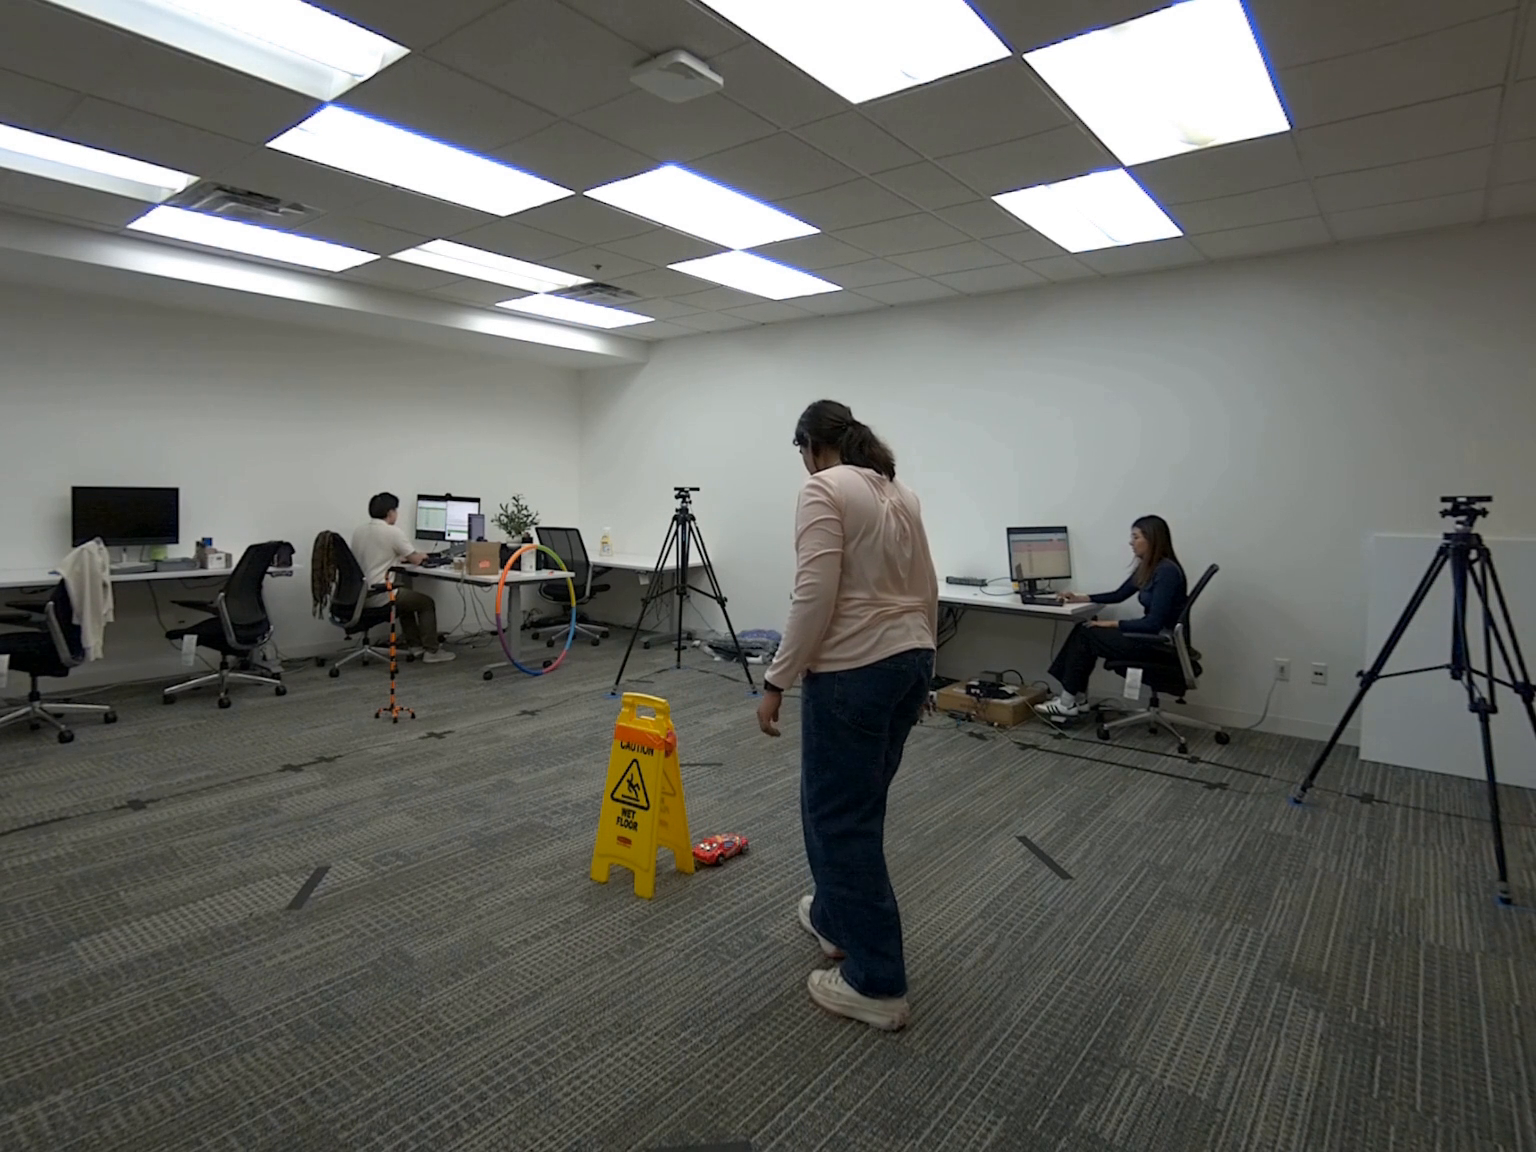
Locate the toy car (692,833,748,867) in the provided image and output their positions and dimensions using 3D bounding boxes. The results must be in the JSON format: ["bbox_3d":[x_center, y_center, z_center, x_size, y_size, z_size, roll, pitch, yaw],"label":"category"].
[{"bbox_3d":[-0.196,1.028,3.200,0.135,0.083,0.245,5,-4,41],"label":"toy car"}]
